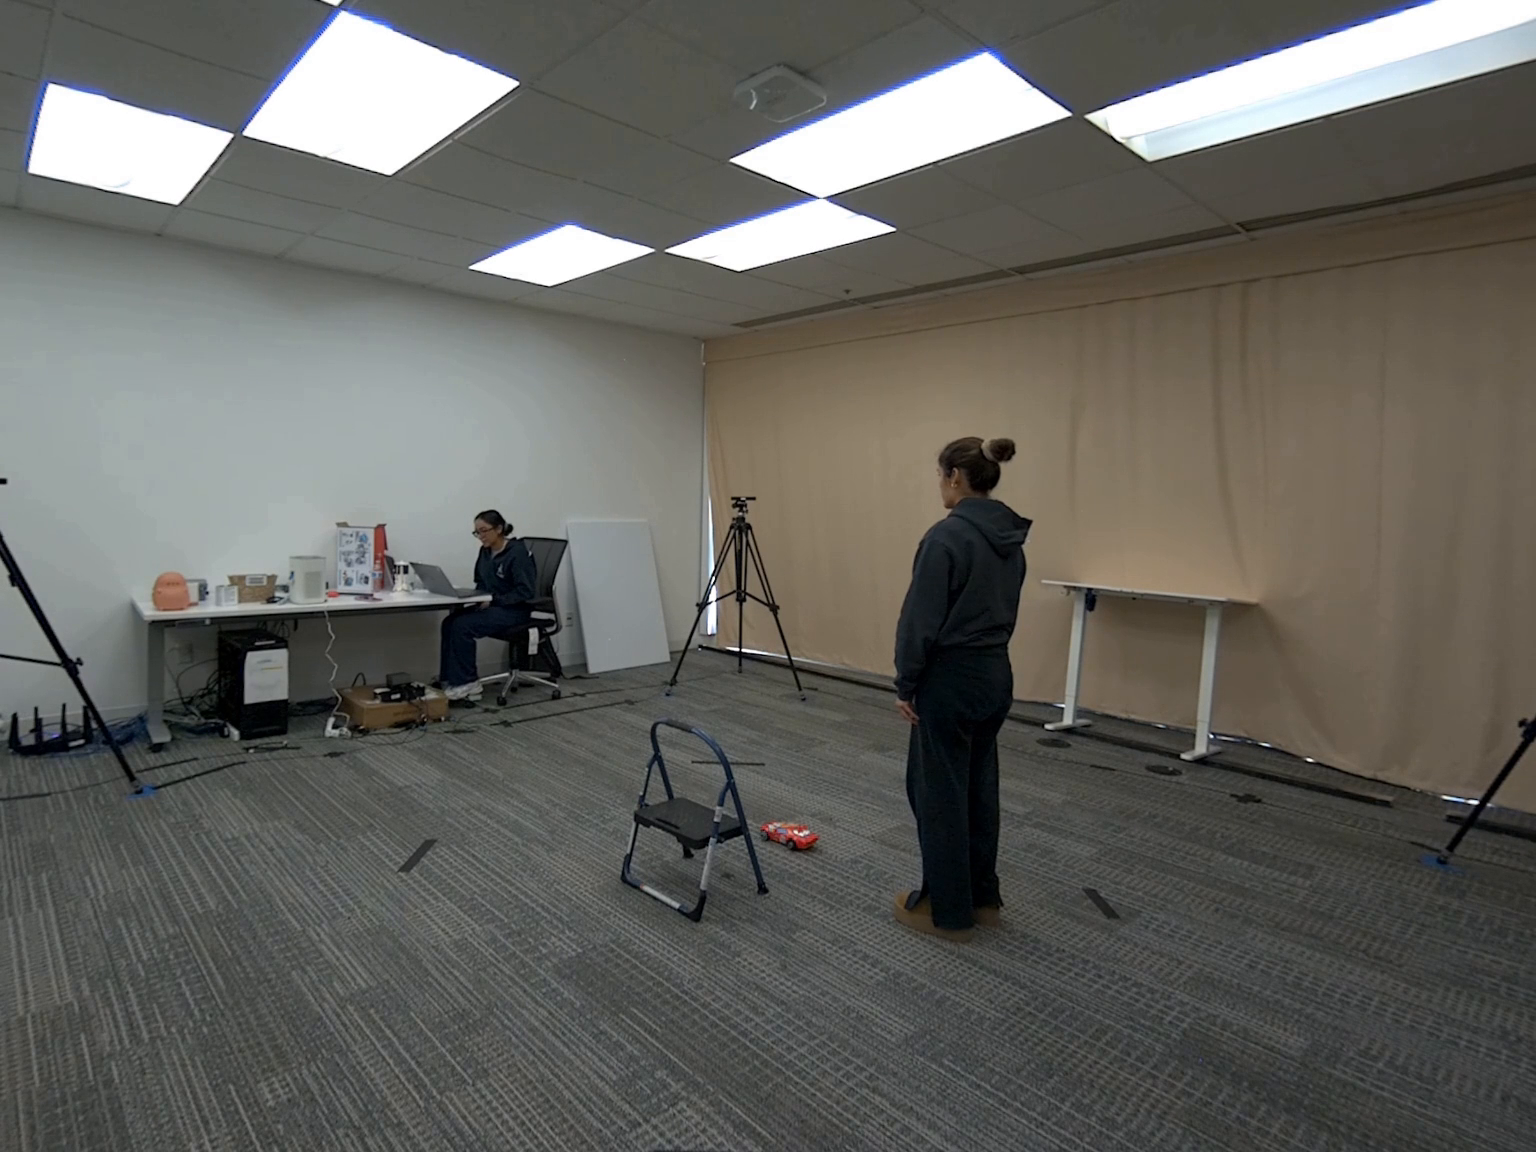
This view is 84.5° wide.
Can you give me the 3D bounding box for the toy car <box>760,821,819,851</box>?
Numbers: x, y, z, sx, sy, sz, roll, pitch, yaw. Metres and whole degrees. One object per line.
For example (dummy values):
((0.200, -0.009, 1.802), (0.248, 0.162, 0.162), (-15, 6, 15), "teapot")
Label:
((0.081, 1.053, 3.426), (0.259, 0.083, 0.127), (-9, -4, 43), "toy car")
